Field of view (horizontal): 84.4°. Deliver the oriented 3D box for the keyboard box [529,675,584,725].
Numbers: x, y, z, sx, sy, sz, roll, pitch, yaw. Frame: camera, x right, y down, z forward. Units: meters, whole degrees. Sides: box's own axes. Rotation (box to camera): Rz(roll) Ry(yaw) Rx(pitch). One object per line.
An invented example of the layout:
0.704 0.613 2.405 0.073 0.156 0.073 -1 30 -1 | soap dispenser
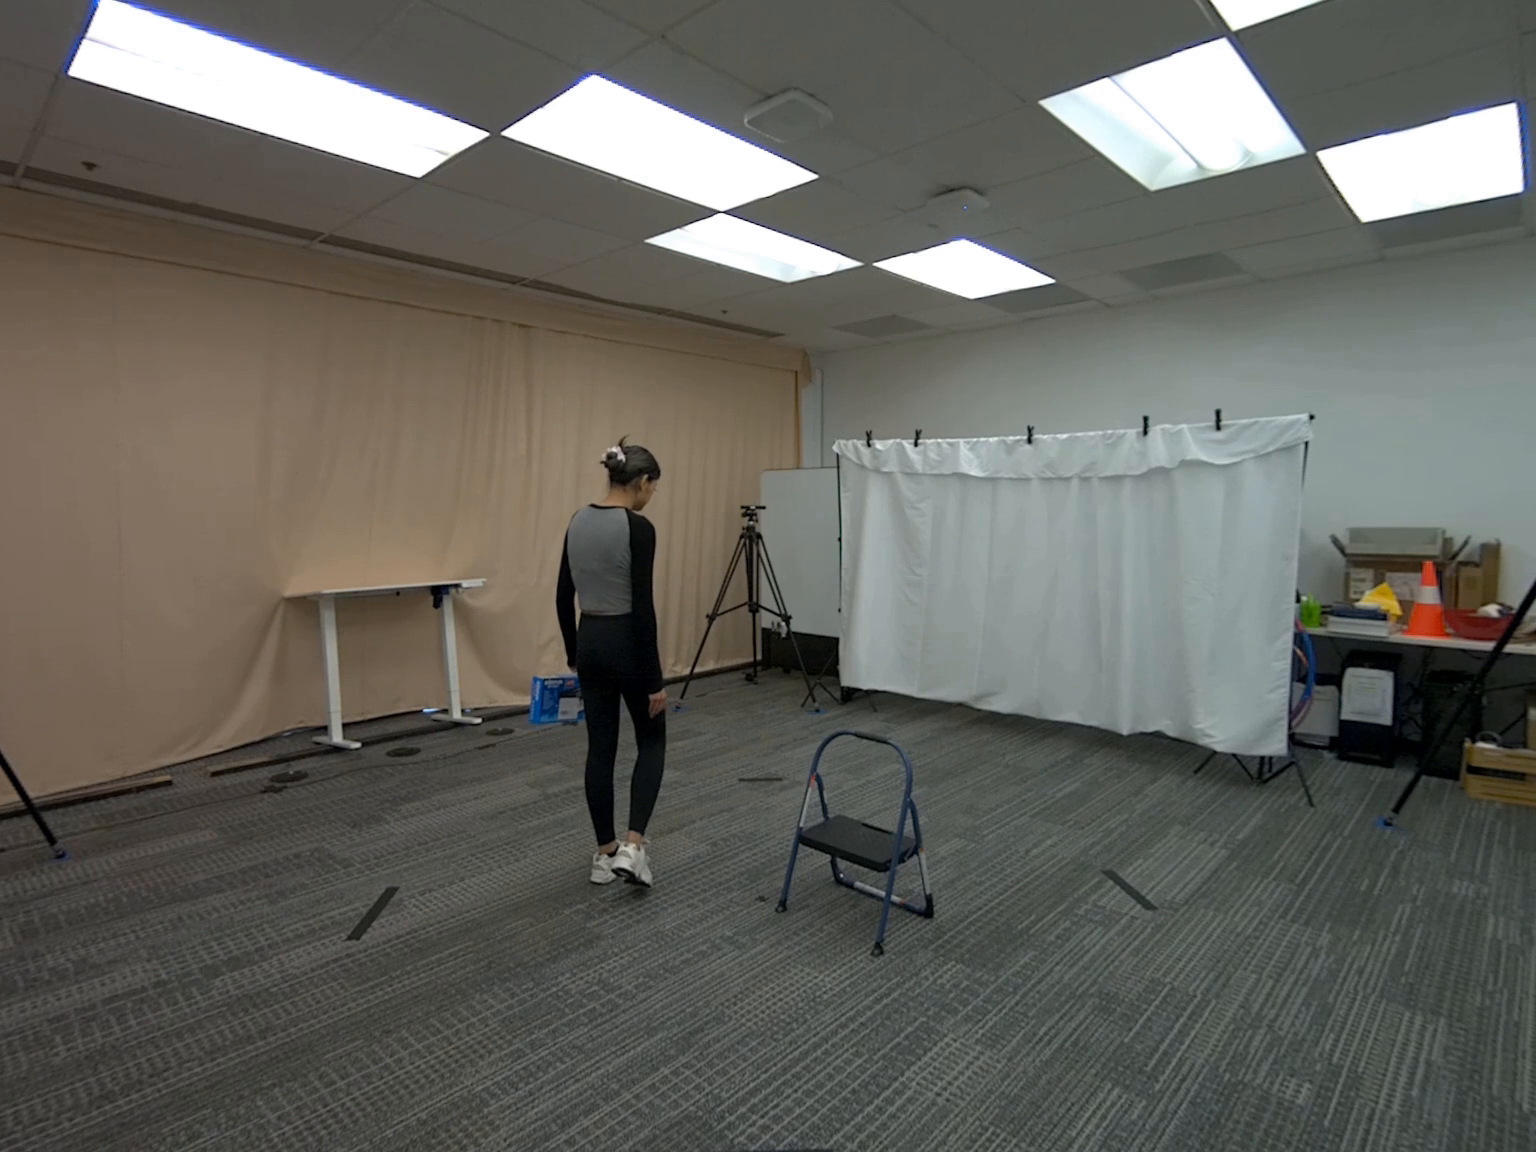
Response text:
-0.752 0.483 3.348 0.061 0.176 0.422 3 -2 36 | keyboard box
